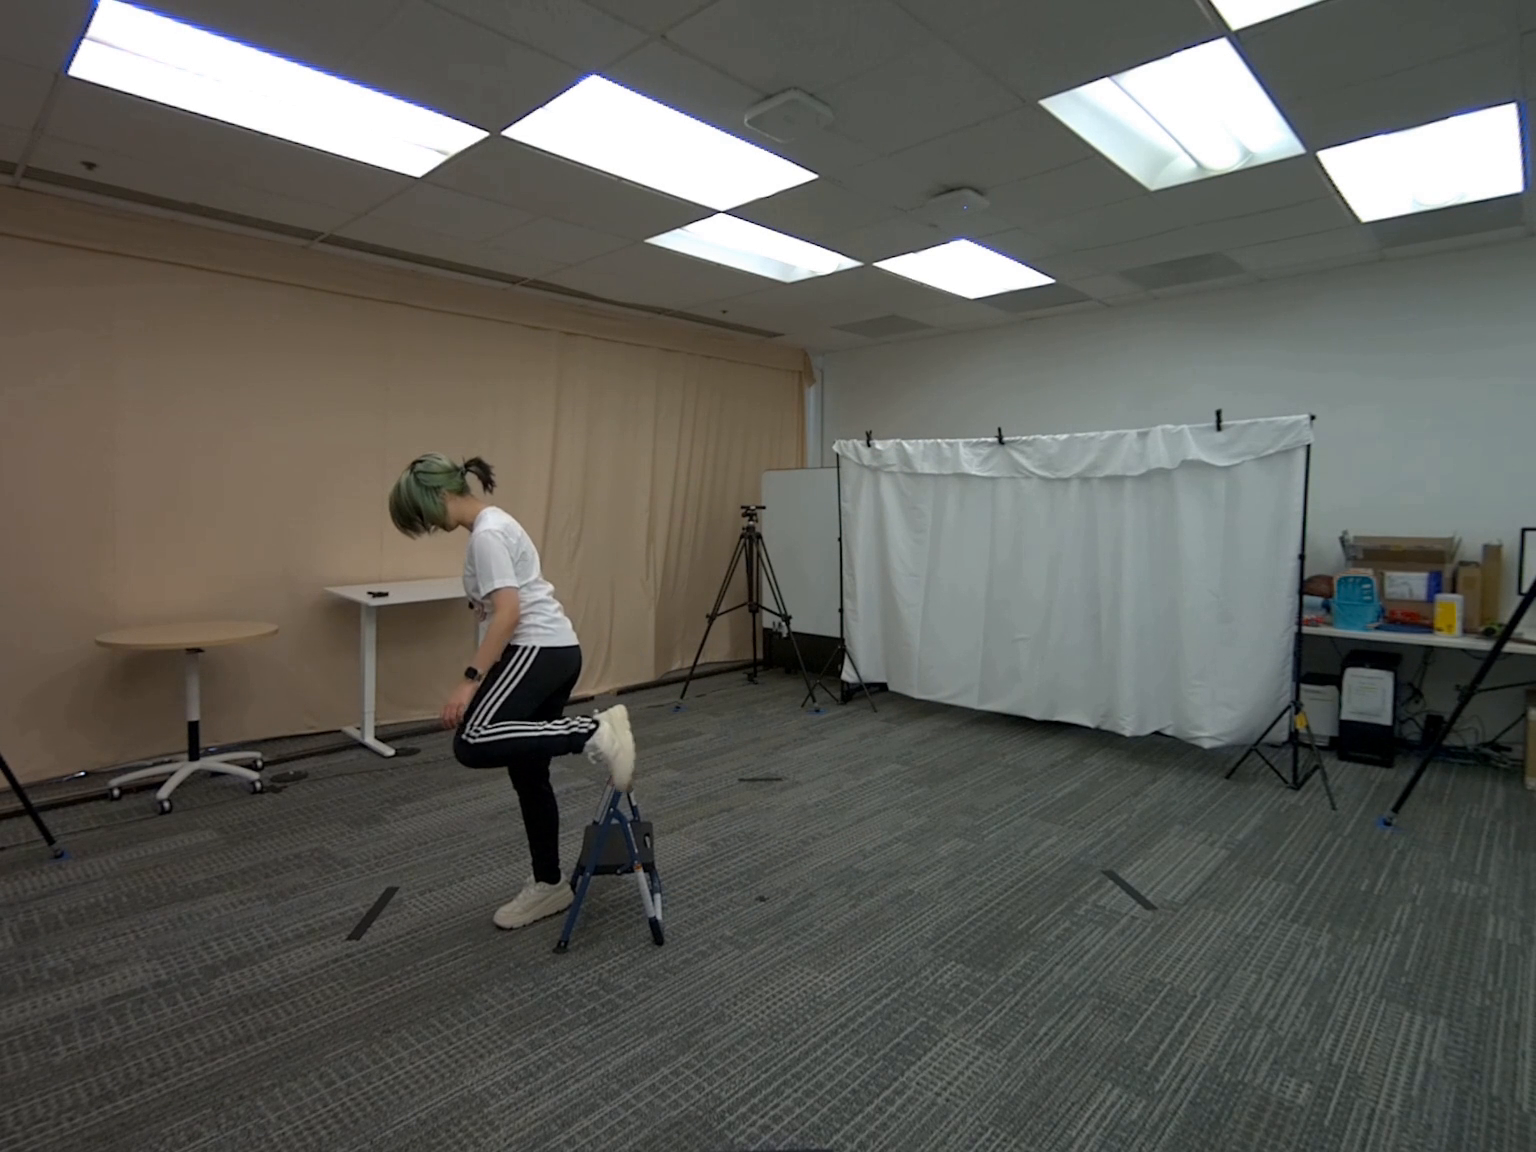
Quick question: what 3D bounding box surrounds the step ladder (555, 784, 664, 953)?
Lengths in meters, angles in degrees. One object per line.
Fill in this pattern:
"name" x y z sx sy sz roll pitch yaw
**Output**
"step ladder" -0.532 0.859 2.837 0.347 0.605 0.435 -1 3 -8
